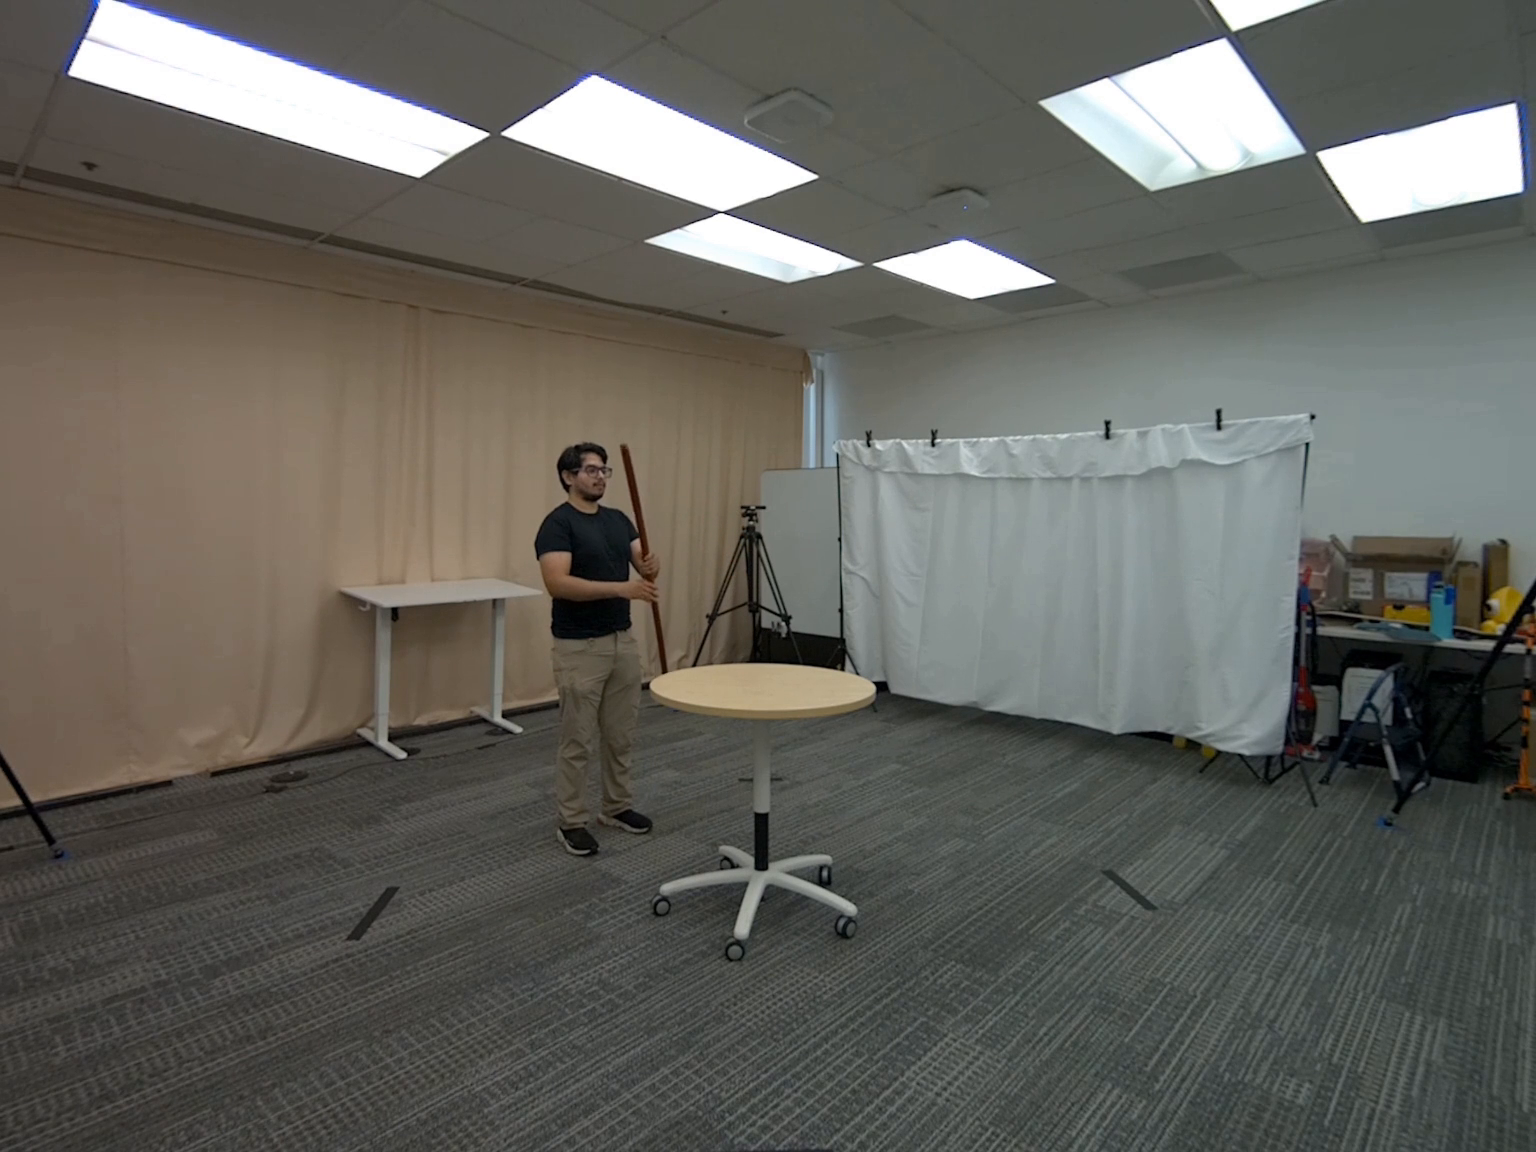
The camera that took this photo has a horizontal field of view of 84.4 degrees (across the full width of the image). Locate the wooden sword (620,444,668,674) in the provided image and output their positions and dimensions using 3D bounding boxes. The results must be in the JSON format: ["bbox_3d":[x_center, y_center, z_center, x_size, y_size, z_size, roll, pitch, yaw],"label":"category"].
[{"bbox_3d":[-0.472,-0.031,3.289,0.053,1.008,0.023,13,30,38],"label":"wooden sword"}]
